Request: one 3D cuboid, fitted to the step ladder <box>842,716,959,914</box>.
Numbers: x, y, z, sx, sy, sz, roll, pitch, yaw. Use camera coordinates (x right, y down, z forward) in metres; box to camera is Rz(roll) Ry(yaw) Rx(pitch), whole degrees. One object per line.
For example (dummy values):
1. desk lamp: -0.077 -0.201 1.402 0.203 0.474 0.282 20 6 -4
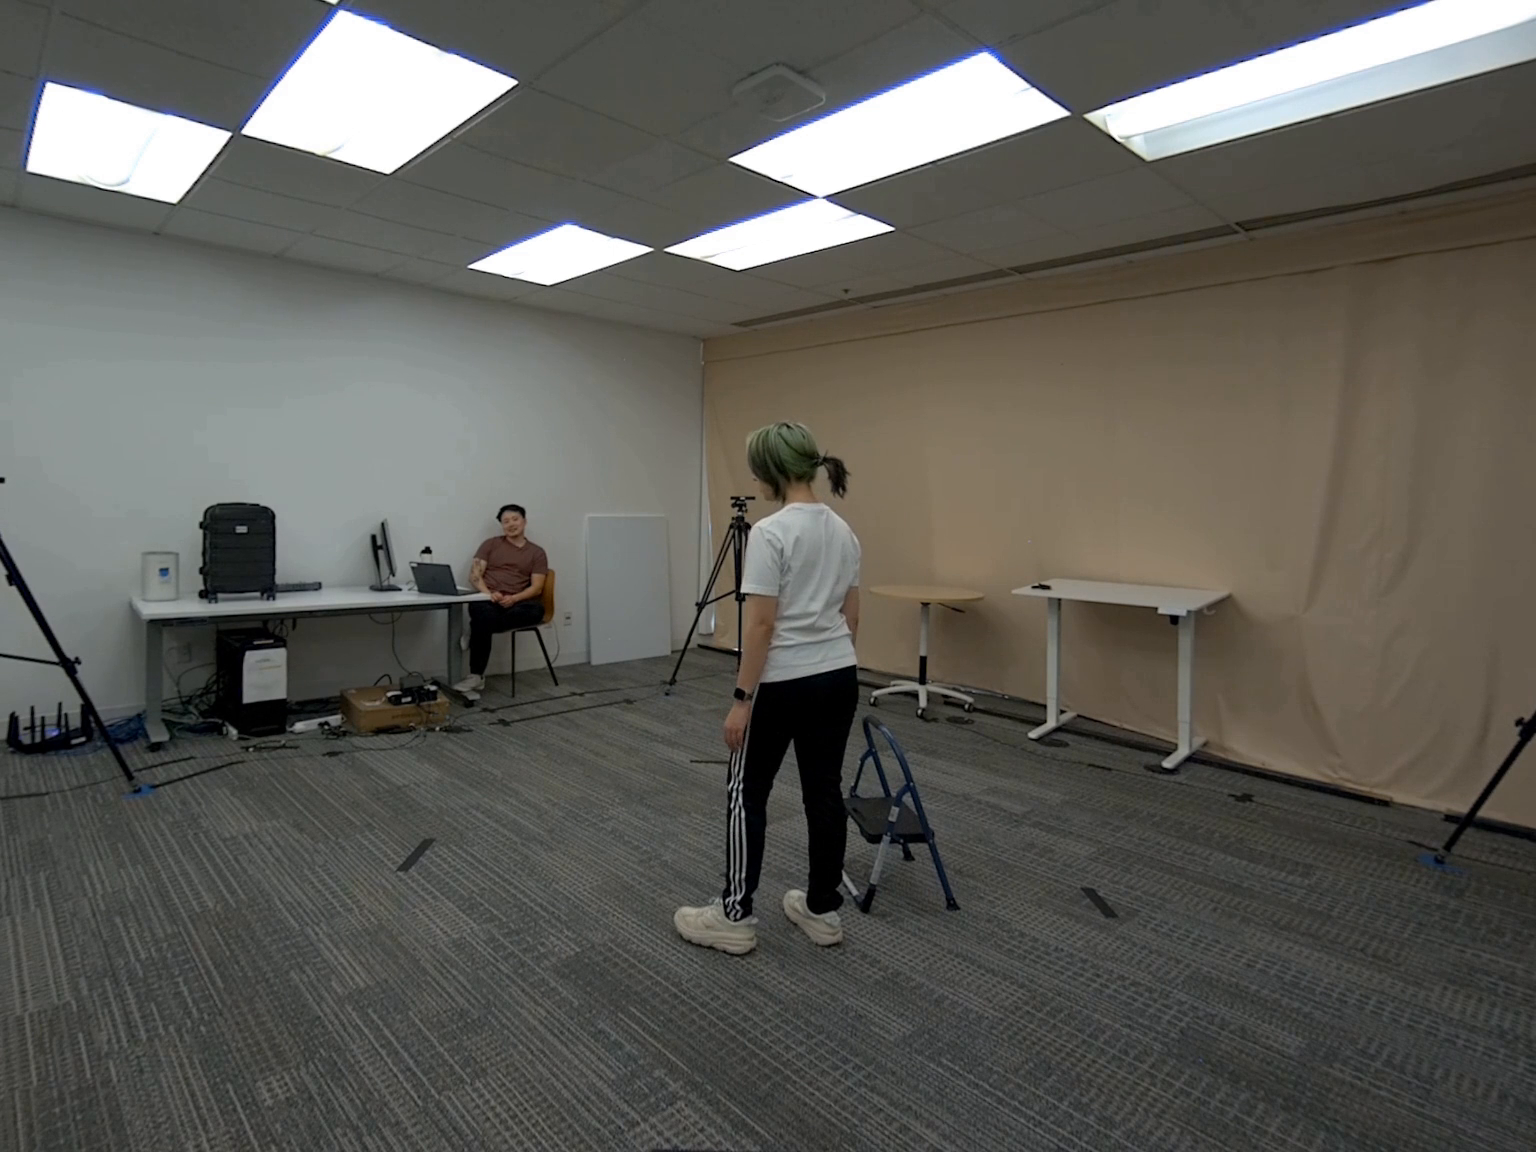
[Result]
1. step ladder: 0.446 0.824 3.049 0.346 0.604 0.436 1 4 -12
